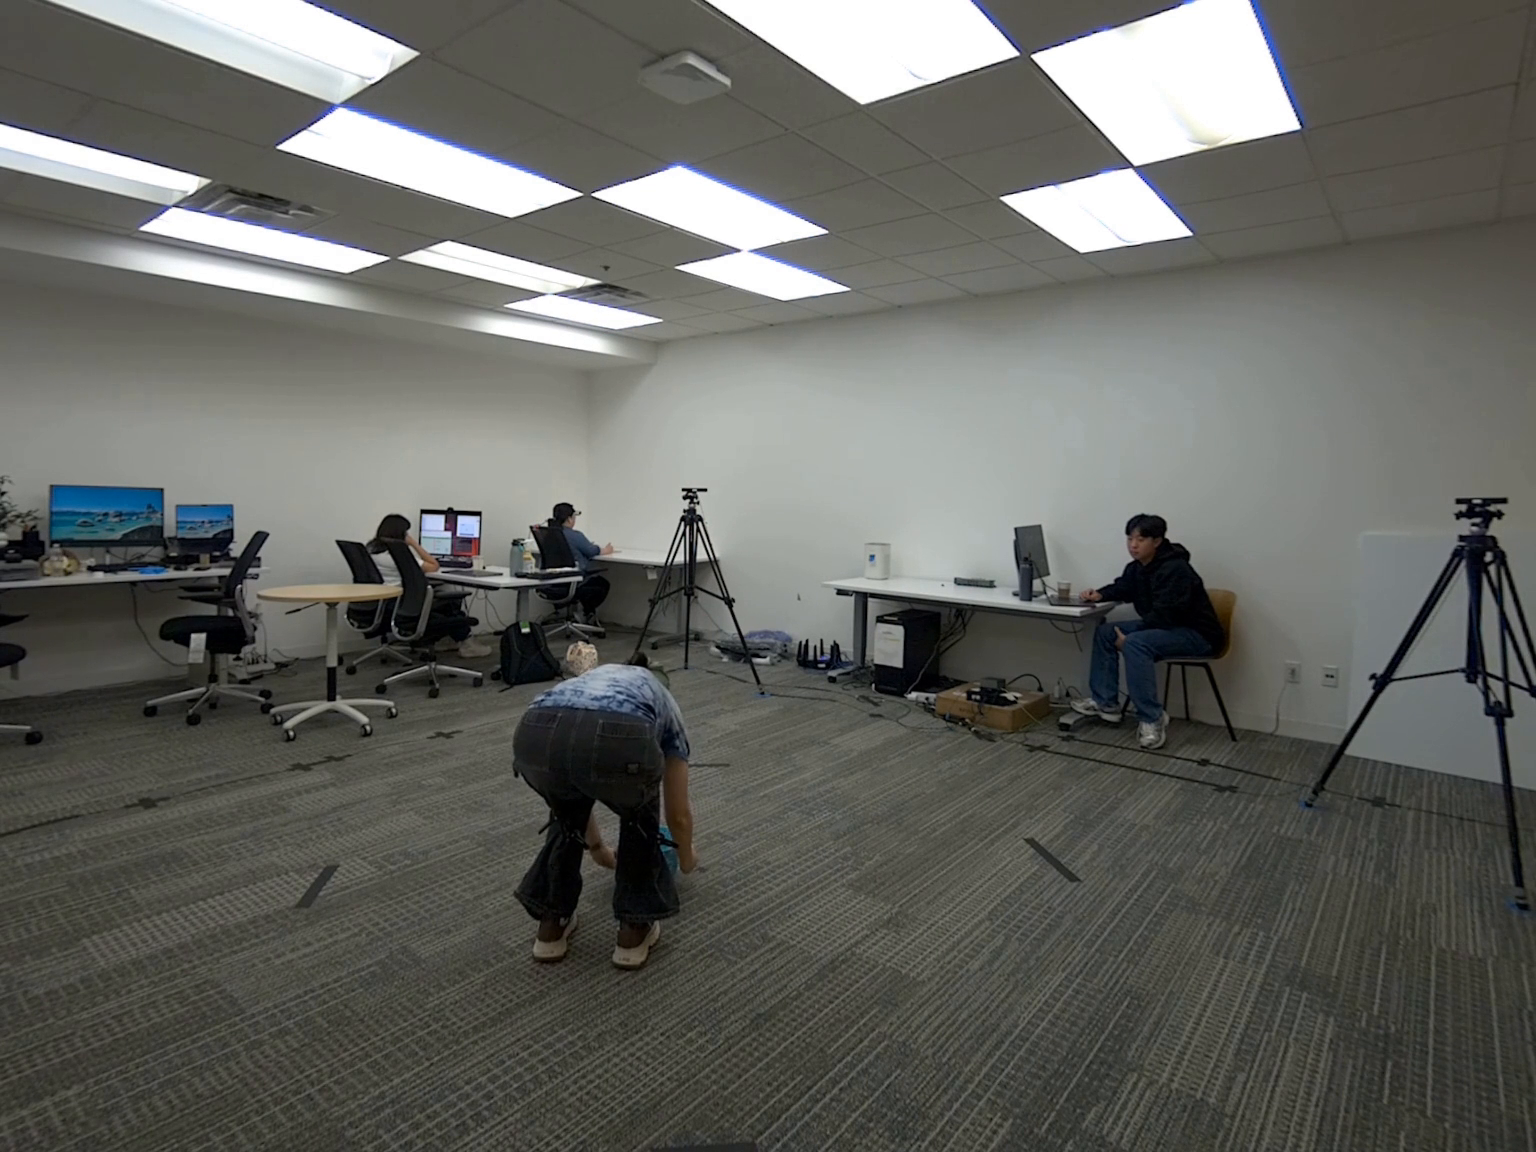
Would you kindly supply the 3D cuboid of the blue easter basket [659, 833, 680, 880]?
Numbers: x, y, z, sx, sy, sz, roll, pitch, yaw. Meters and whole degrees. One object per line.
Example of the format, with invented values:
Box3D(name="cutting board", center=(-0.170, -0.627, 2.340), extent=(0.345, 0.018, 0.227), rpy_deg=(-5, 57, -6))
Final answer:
Box3D(name="blue easter basket", center=(-0.416, 0.996, 3.001), extent=(0.243, 0.155, 0.245), rpy_deg=(1, 5, -2))
